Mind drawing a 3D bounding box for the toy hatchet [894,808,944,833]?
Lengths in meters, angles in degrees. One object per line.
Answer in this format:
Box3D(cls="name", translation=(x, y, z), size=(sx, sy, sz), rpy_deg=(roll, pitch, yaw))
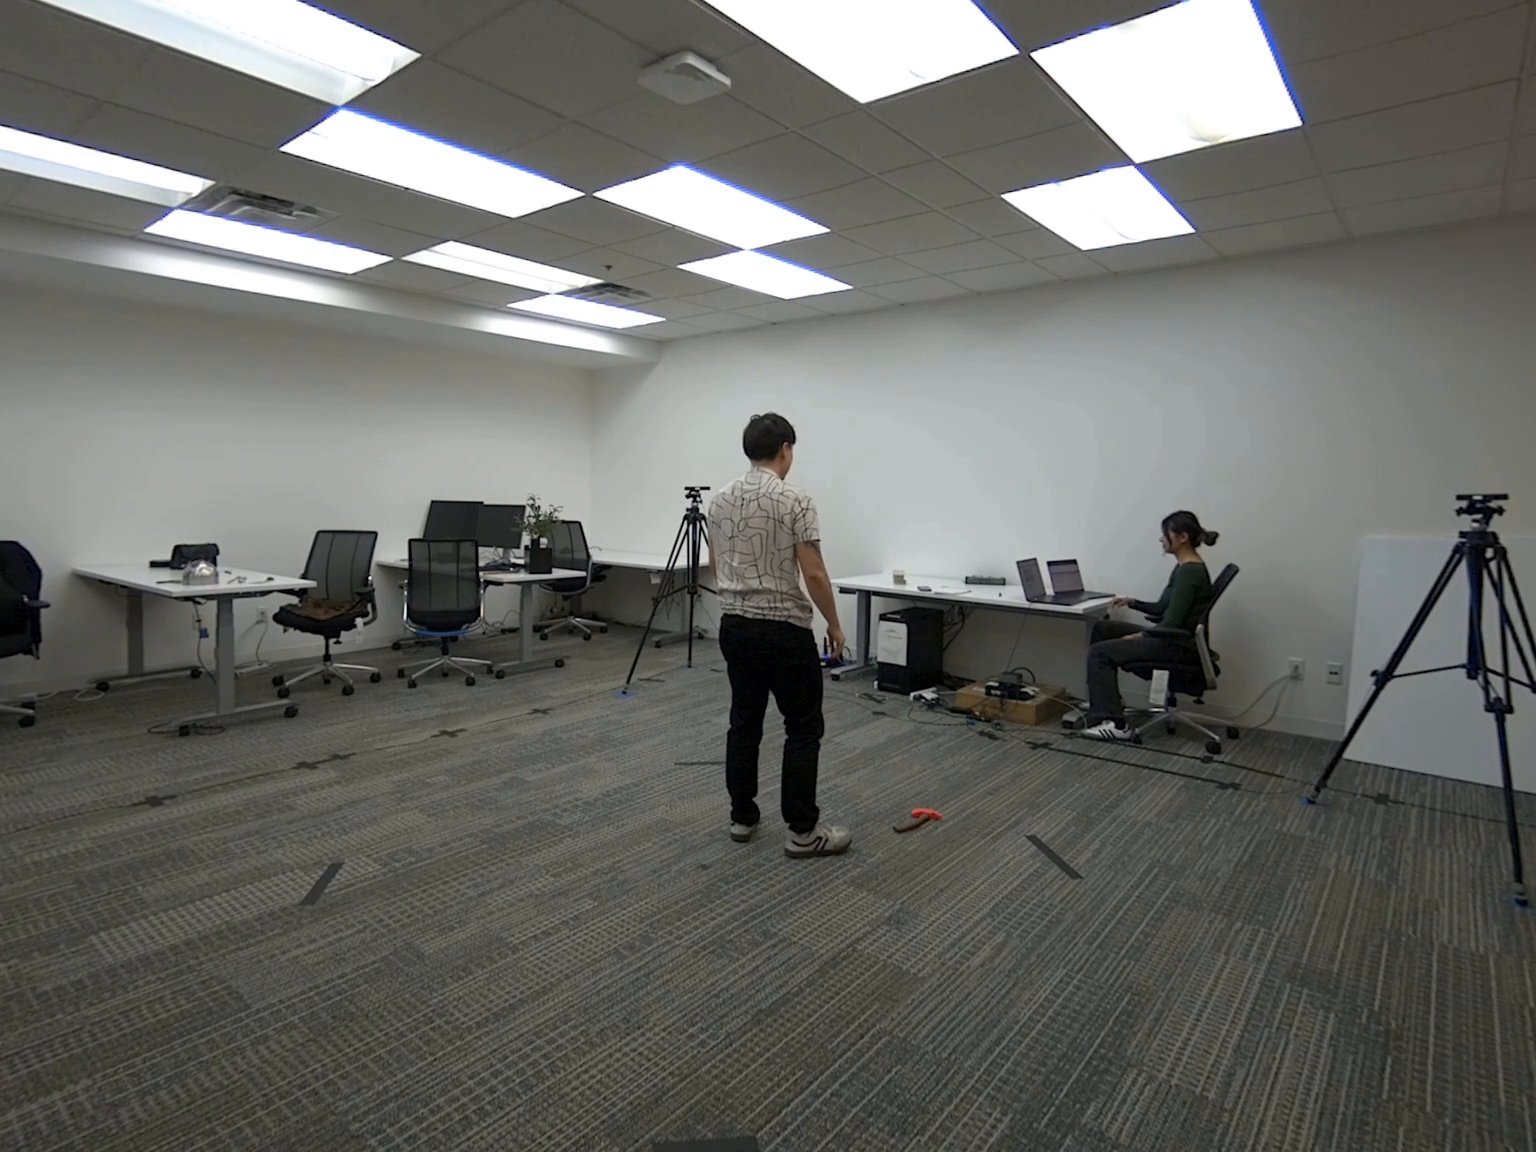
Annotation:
Box3D(cls="toy hatchet", translation=(0.598, 1.021, 3.579), size=(0.262, 0.029, 0.135), rpy_deg=(-5, 10, -36))
